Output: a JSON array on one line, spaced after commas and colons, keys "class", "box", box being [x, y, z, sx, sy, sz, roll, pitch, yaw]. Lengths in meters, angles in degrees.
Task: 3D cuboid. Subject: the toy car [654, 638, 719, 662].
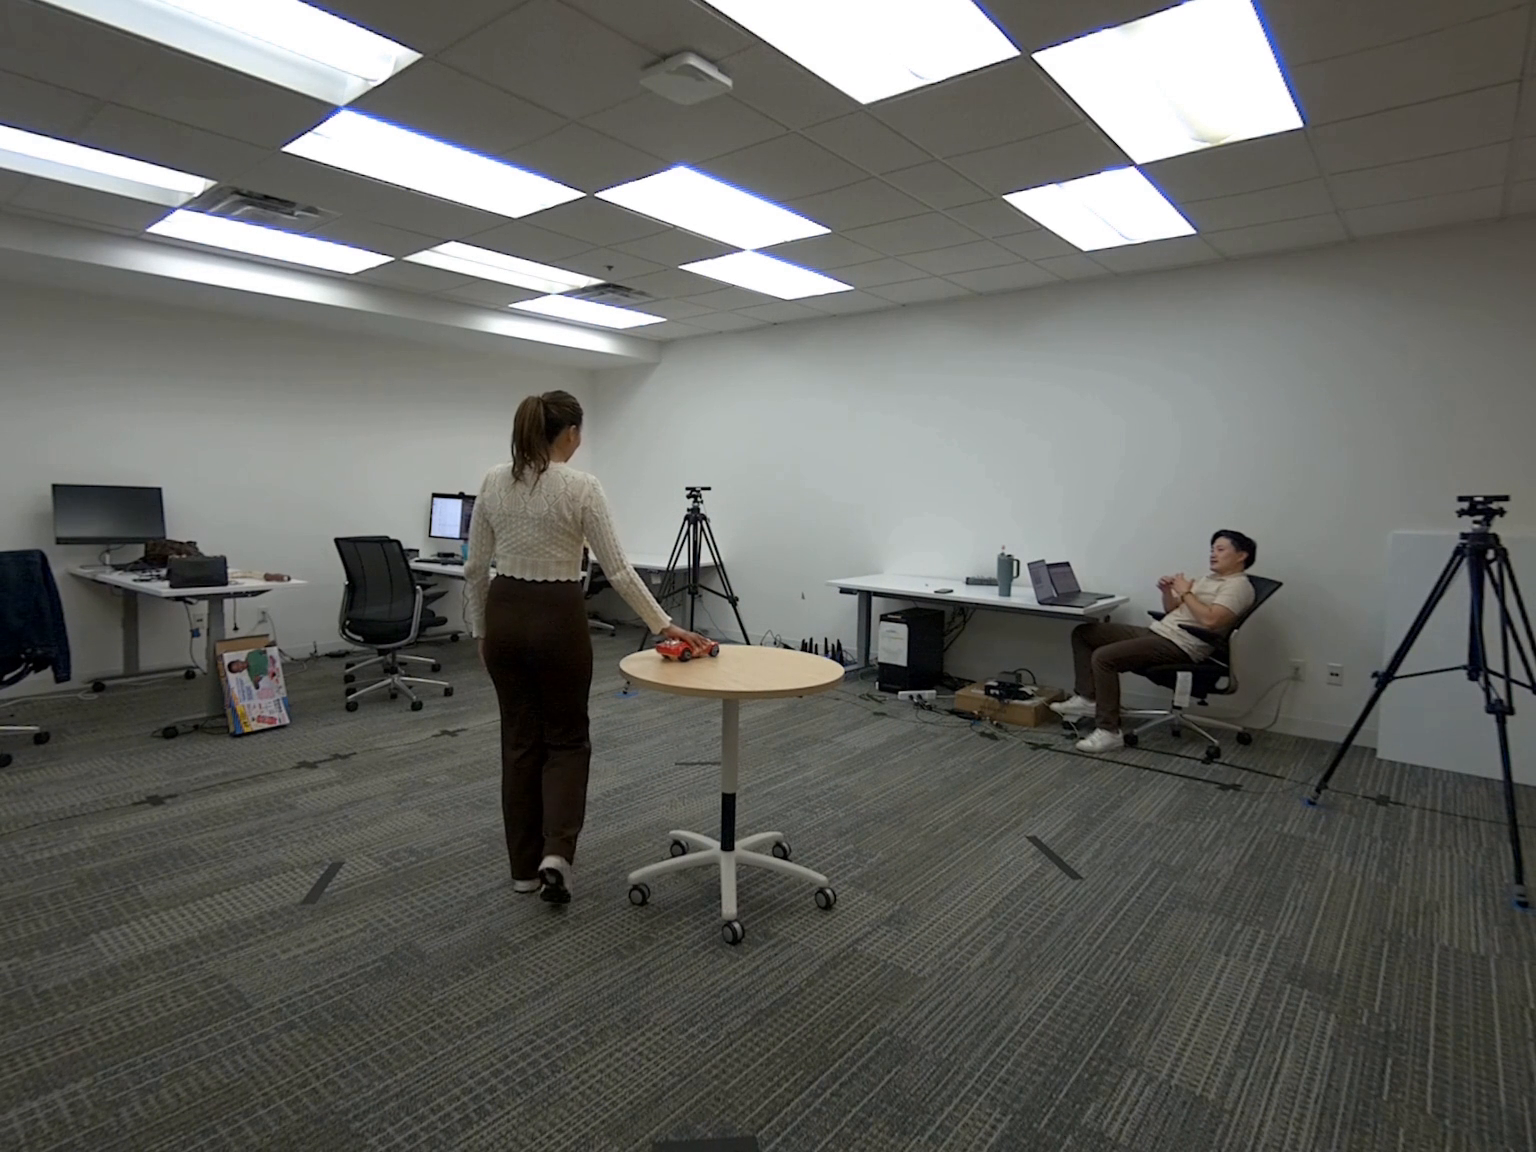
[{"class": "toy car", "box": [-0.302, 0.259, 3.009, 0.135, 0.083, 0.245, 7, -3, 43]}]
